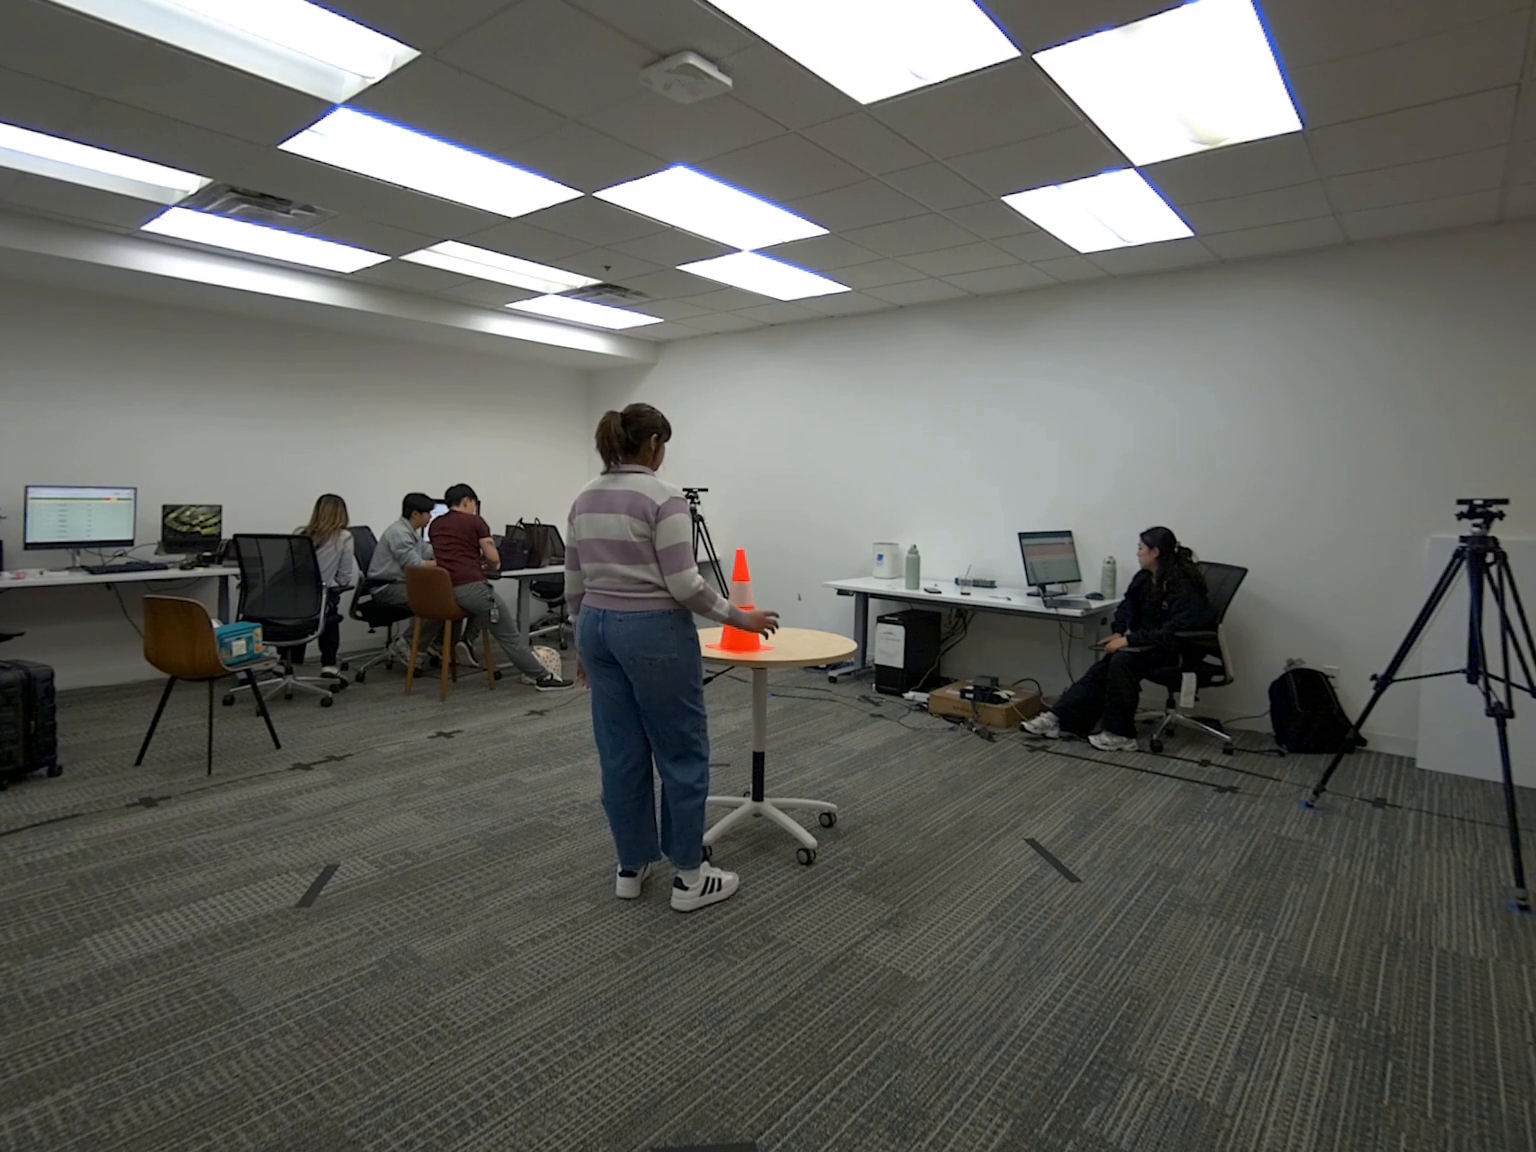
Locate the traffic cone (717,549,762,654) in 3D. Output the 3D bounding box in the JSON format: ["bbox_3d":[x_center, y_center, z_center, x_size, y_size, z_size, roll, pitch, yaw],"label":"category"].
[{"bbox_3d":[-0.111,0.087,3.259,0.212,0.382,0.197,4,6,39],"label":"traffic cone"}]
